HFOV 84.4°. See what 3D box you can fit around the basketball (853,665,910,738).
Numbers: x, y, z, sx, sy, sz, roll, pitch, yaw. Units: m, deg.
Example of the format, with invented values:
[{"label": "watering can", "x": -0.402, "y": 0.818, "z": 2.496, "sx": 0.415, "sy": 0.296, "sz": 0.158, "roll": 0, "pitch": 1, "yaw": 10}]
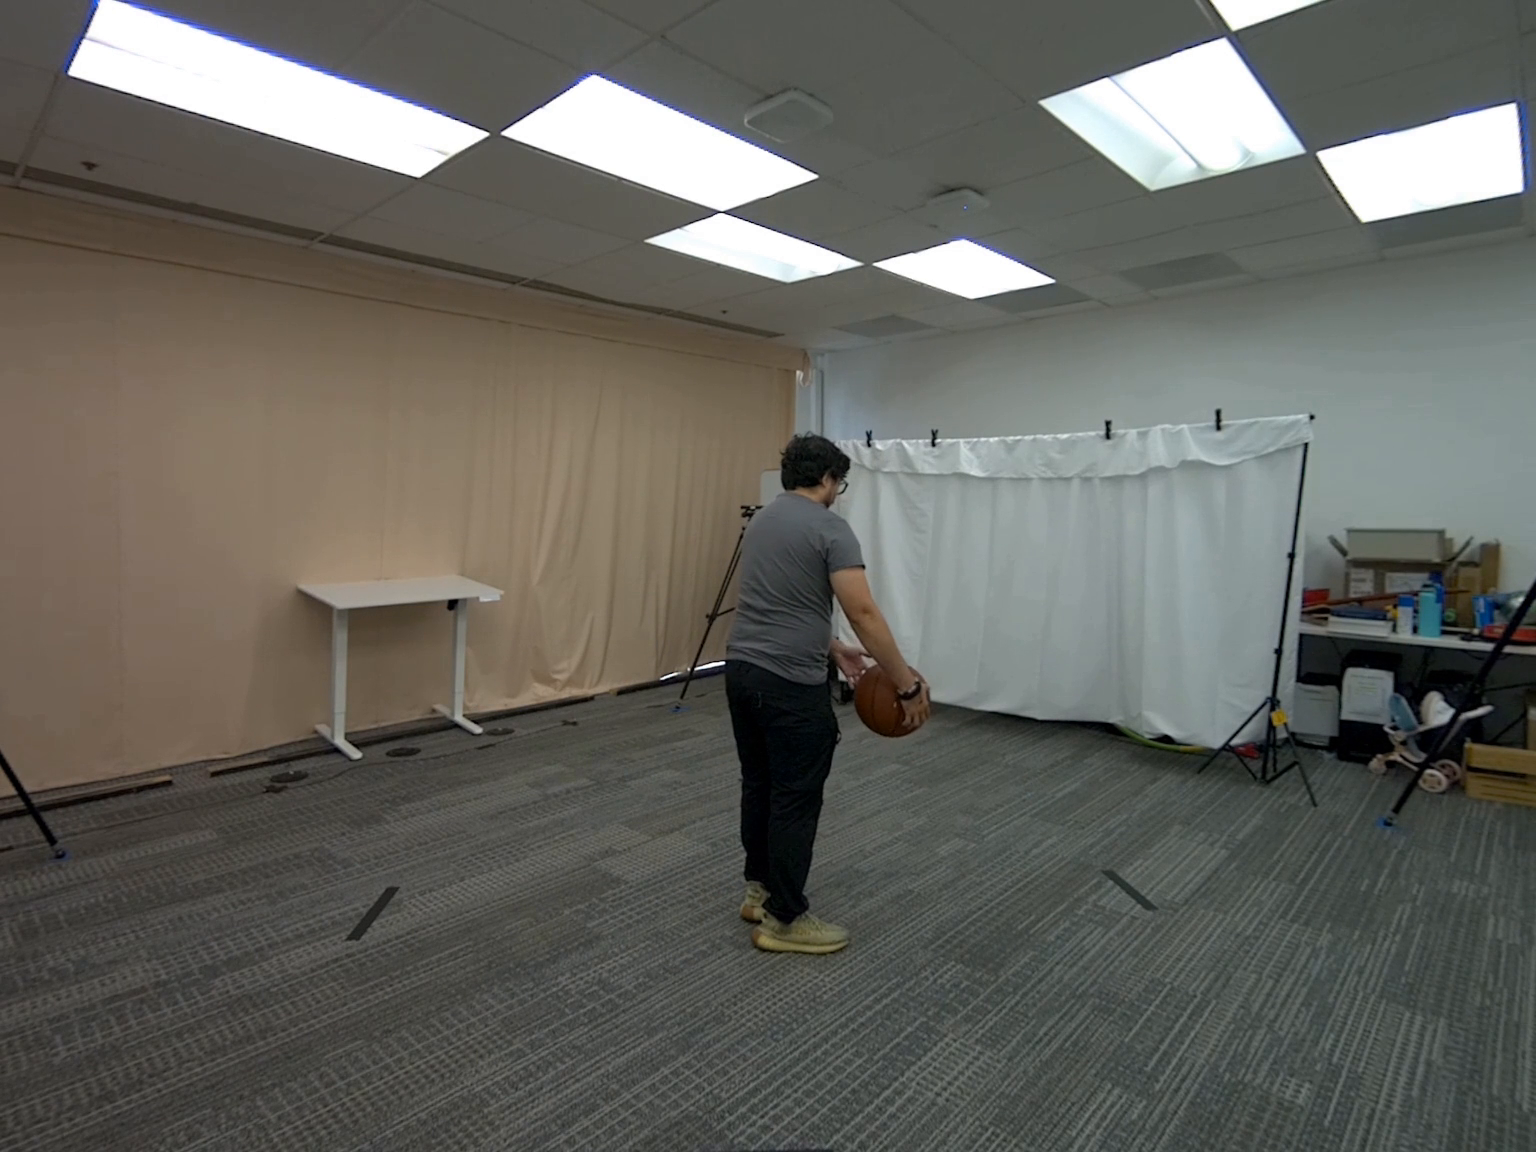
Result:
[{"label": "basketball", "x": 0.397, "y": 0.391, "z": 2.677, "sx": 0.236, "sy": 0.235, "sz": 0.237, "roll": 0, "pitch": 4, "yaw": -2}]
